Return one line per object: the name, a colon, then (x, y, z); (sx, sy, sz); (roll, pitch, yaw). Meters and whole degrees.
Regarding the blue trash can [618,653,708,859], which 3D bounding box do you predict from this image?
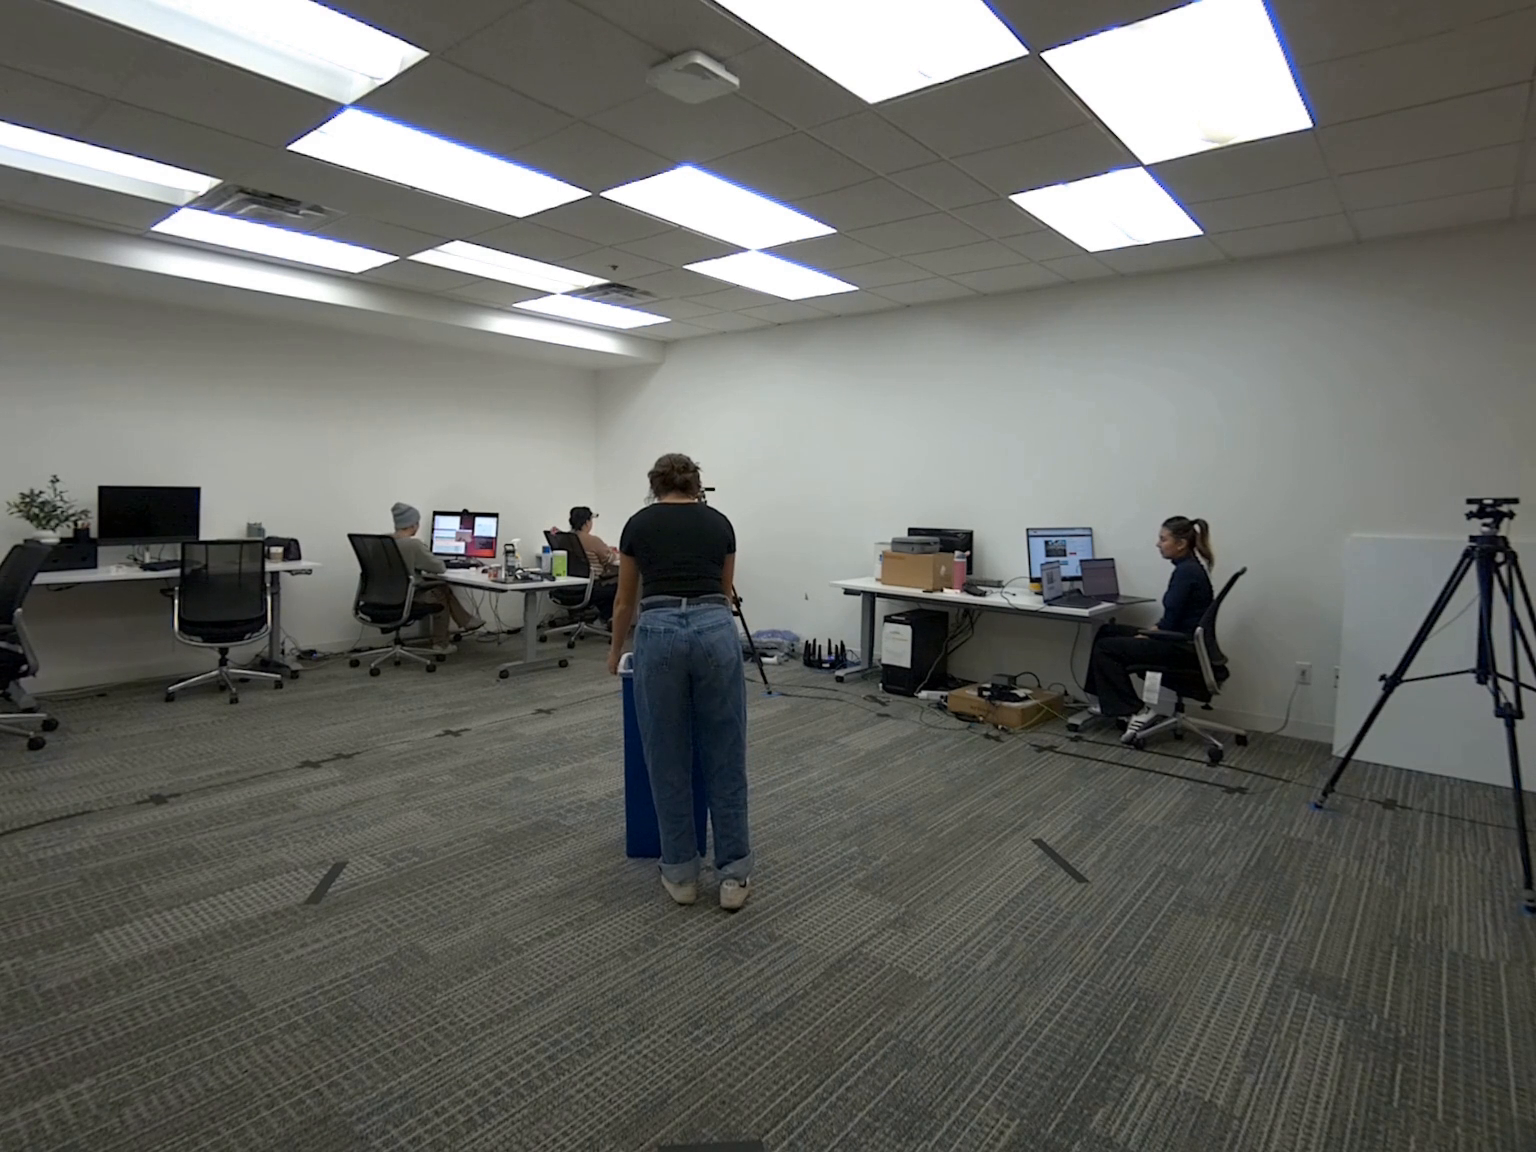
blue trash can: (-0.412, 0.683, 3.322); (0.372, 0.712, 0.381); (1, 3, -5)
